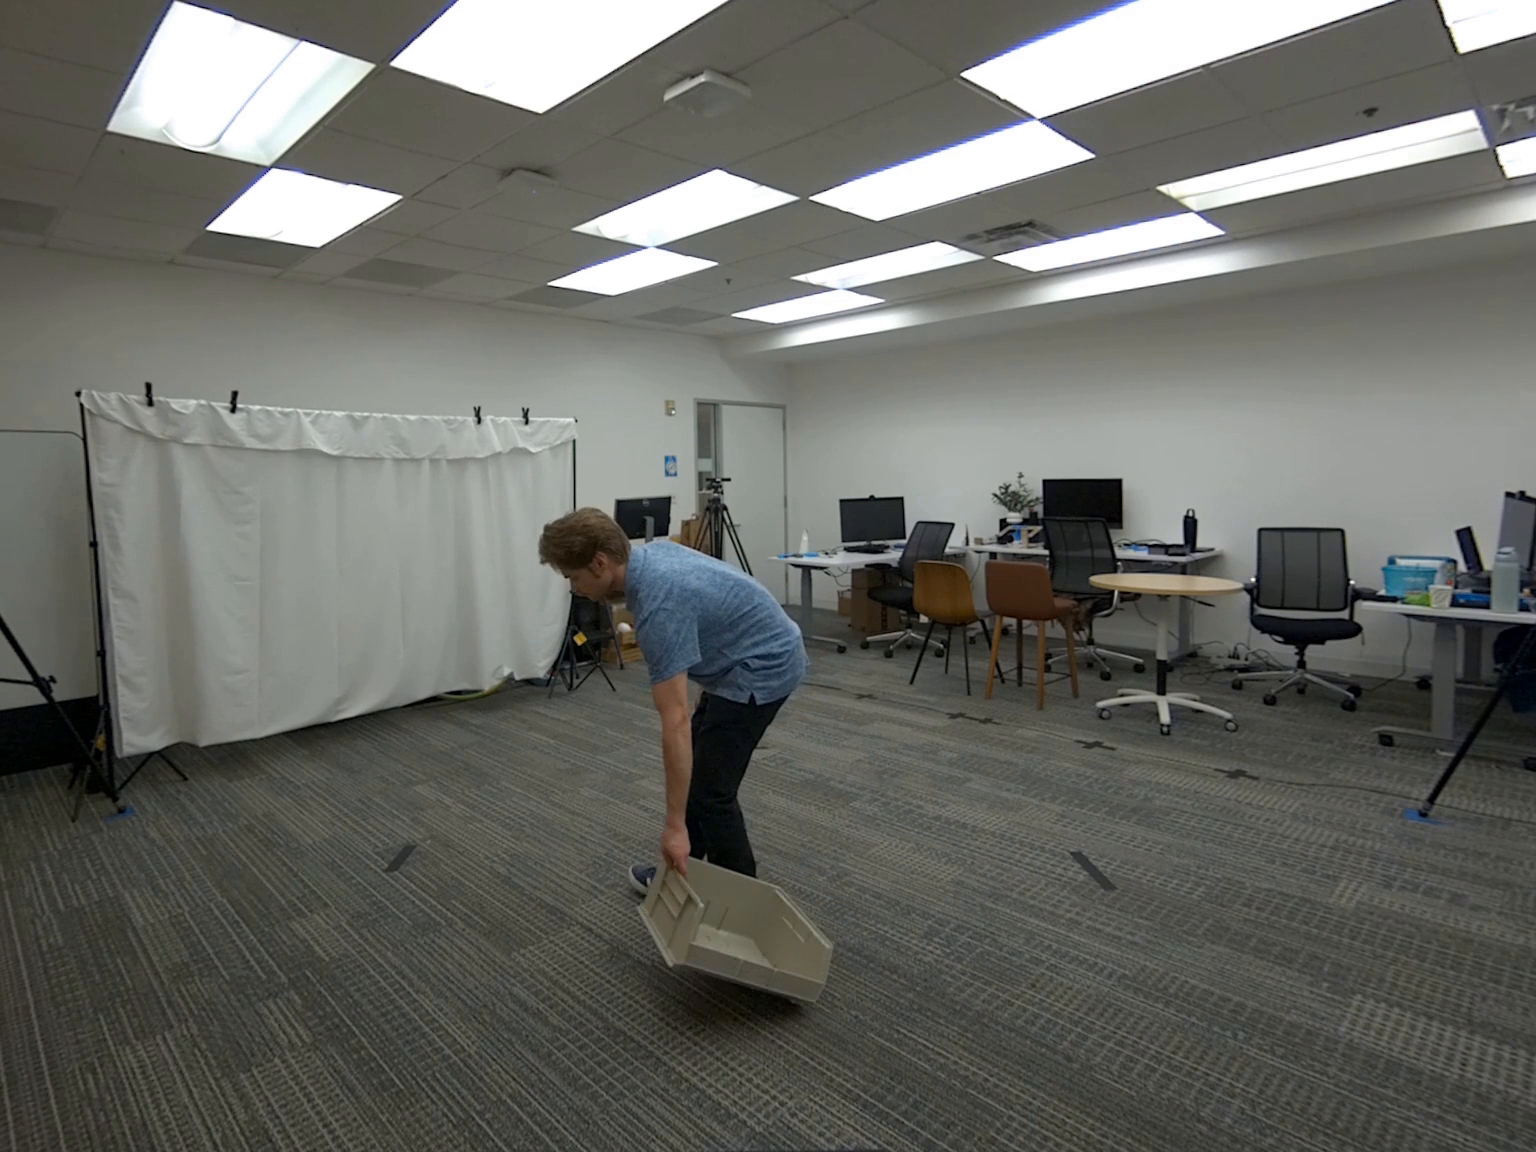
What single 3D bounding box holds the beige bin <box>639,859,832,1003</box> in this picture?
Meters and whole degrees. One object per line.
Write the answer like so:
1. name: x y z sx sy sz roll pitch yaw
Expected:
1. beige bin: -0.092 0.964 2.324 0.412 0.189 0.386 25 -6 -22
